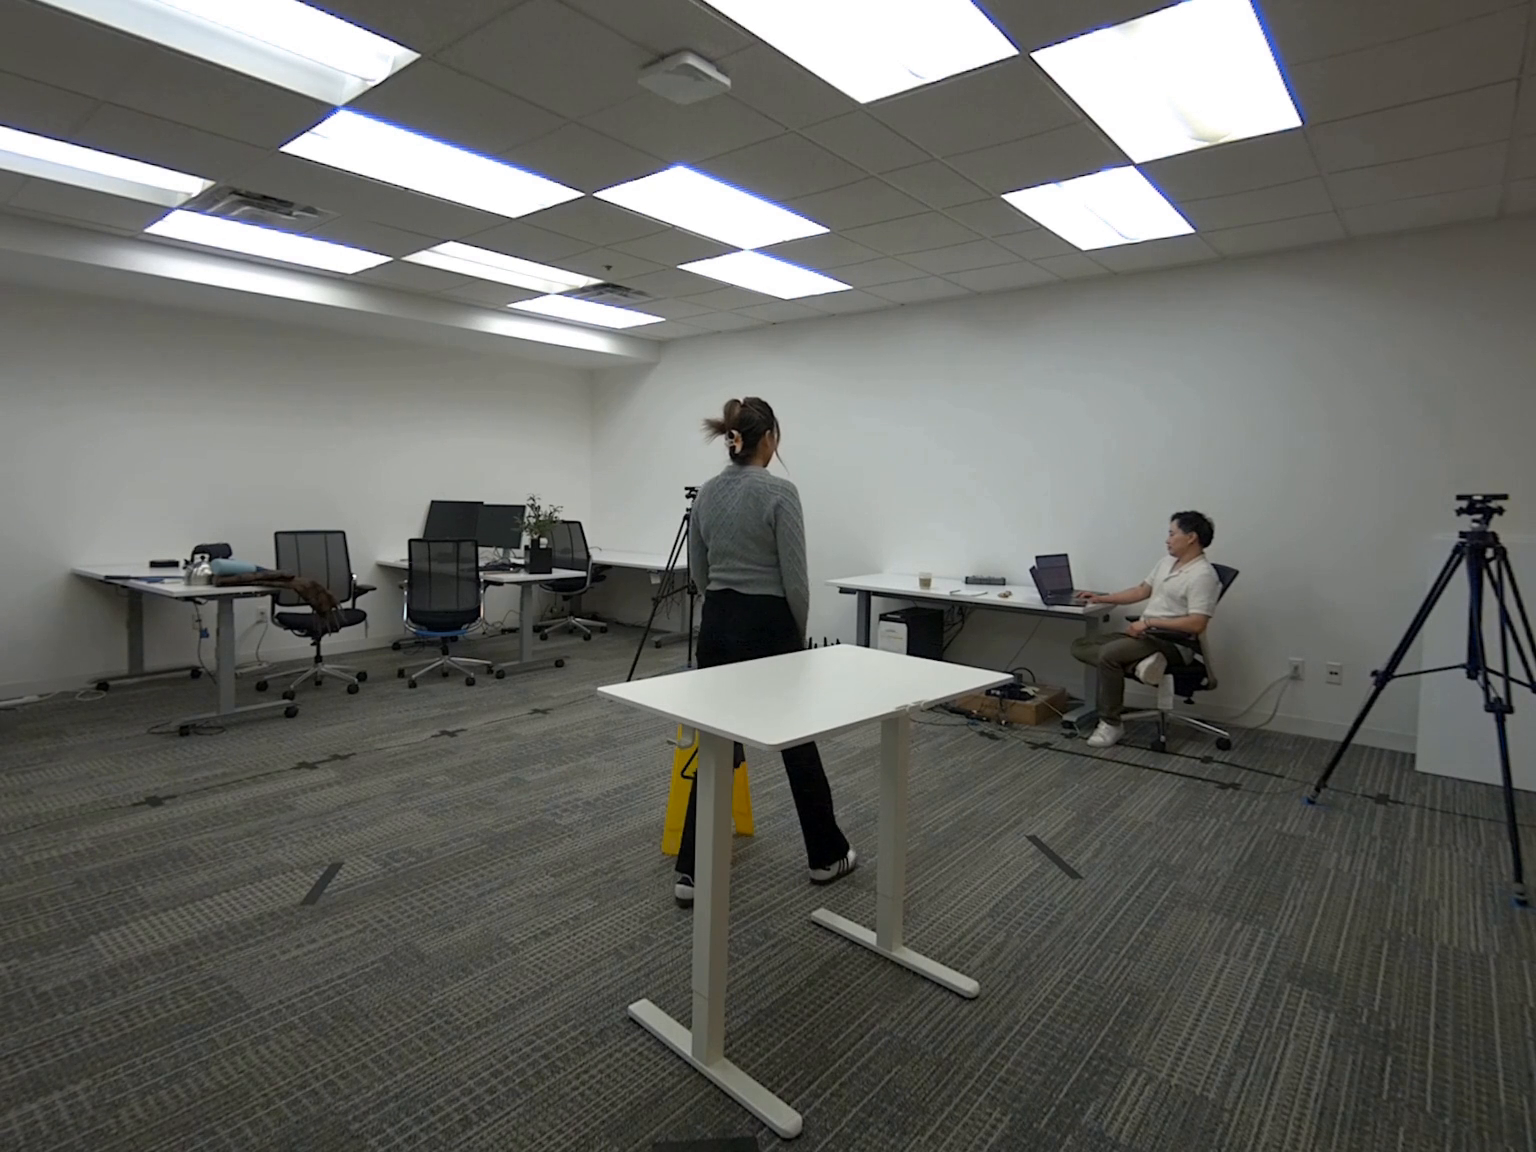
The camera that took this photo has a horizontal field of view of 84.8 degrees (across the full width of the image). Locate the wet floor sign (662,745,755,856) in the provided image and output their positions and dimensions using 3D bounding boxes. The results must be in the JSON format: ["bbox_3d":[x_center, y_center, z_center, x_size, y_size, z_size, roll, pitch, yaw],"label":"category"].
[{"bbox_3d":[-0.233,0.717,3.311,0.288,0.644,0.284,3,3,19],"label":"wet floor sign"}]
